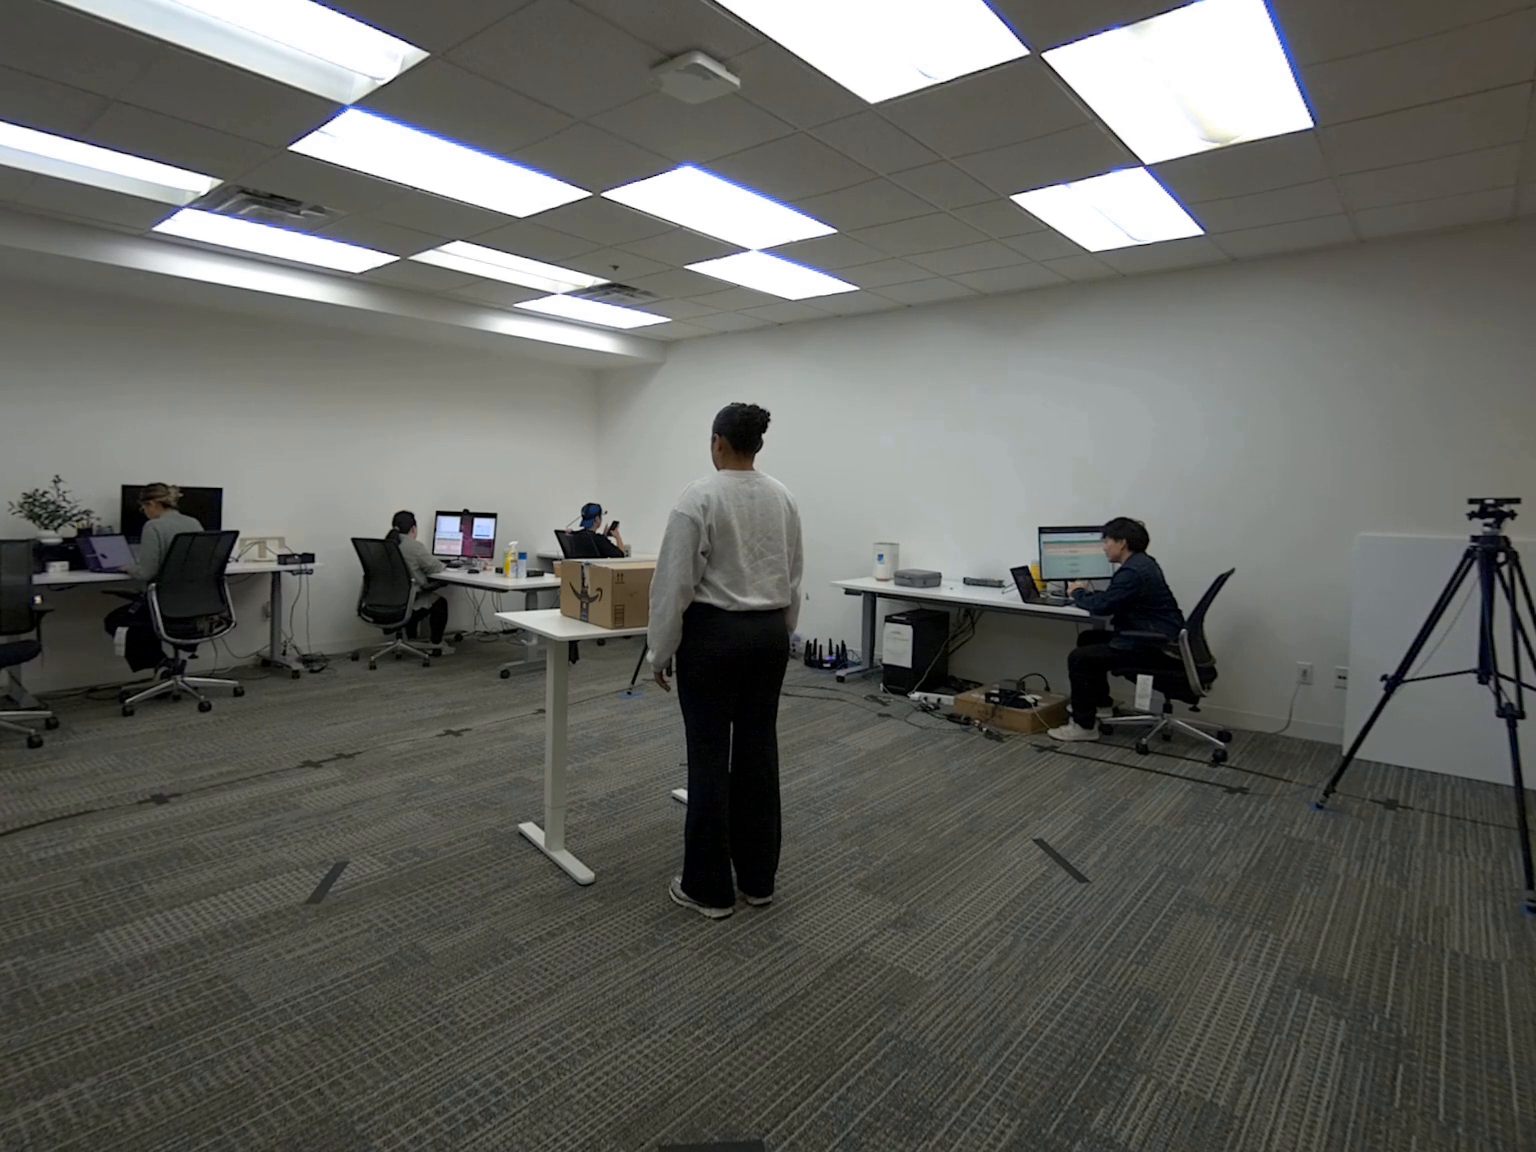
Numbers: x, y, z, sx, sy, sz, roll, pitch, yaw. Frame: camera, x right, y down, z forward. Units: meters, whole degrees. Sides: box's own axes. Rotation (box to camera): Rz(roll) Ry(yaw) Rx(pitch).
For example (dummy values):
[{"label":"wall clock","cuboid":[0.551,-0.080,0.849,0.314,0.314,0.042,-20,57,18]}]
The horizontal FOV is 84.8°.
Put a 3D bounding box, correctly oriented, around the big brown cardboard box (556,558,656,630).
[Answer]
[{"label":"big brown cardboard box","cuboid":[-0.475,0.049,3.320,0.572,0.232,0.432,-4,7,-38]}]
